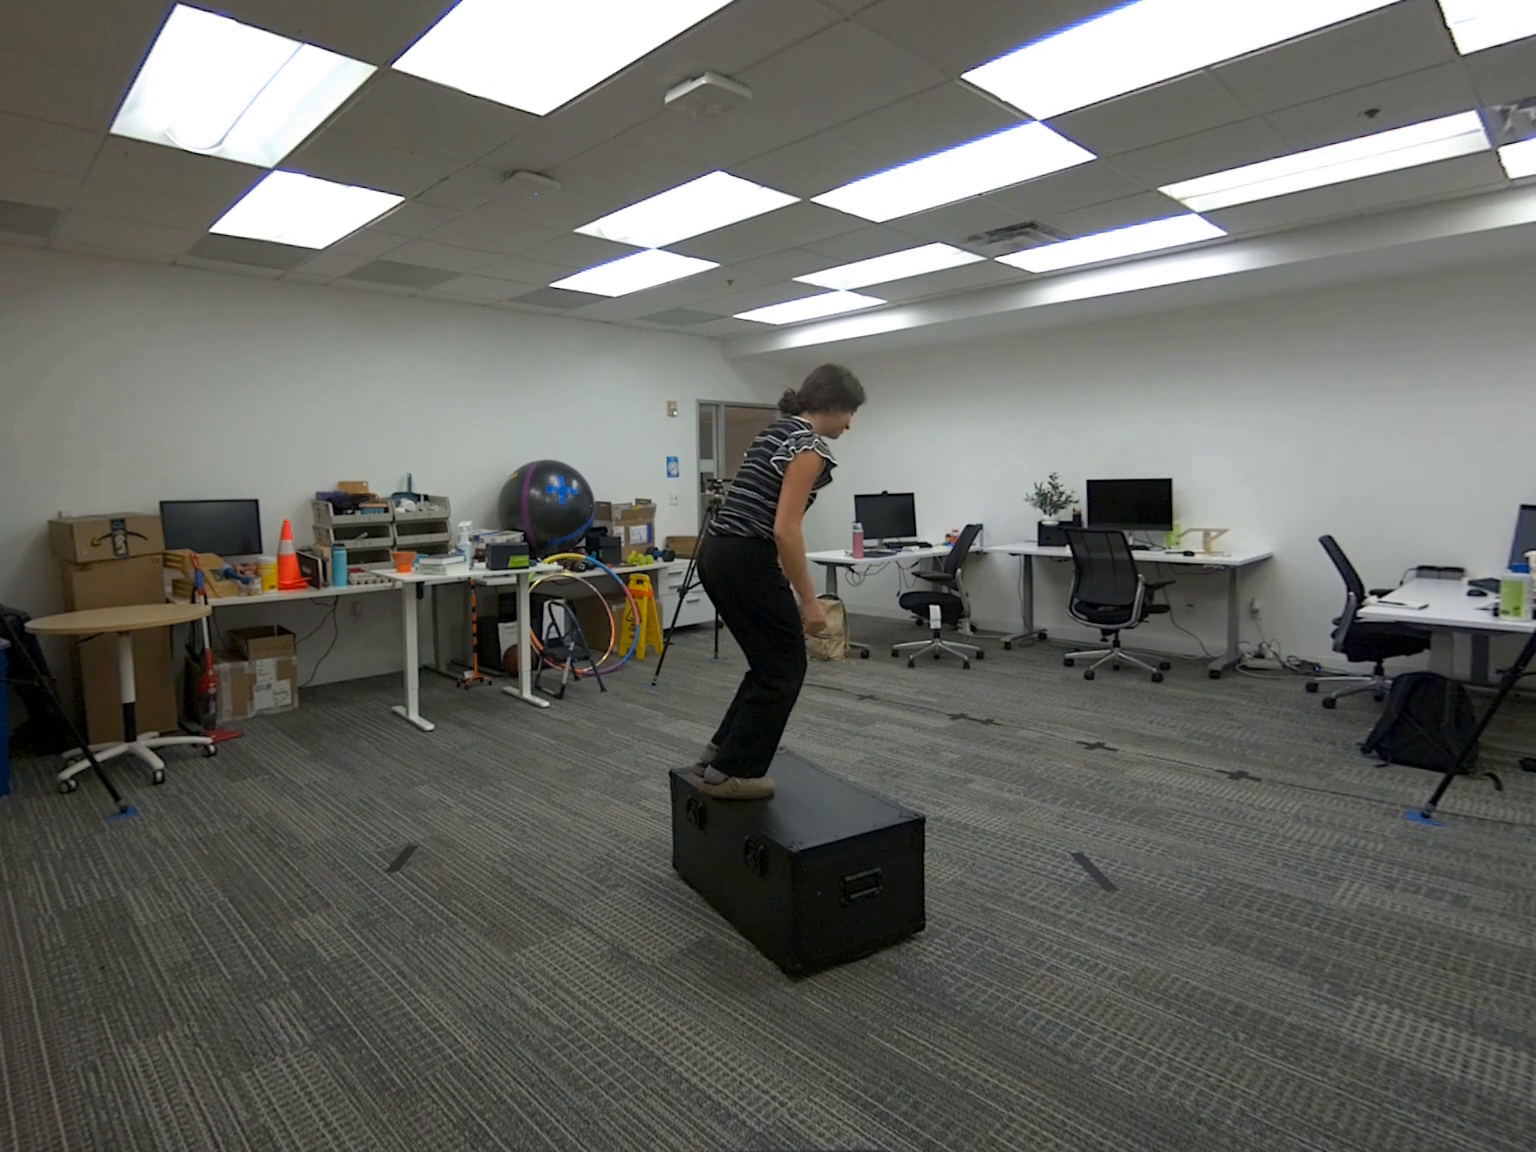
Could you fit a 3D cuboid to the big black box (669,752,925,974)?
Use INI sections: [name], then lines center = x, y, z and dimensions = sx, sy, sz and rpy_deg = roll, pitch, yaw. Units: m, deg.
[big black box]
center = 0.052, 0.887, 2.827
dimensions = 0.509, 0.394, 0.886
rpy_deg = -4, 7, -30
